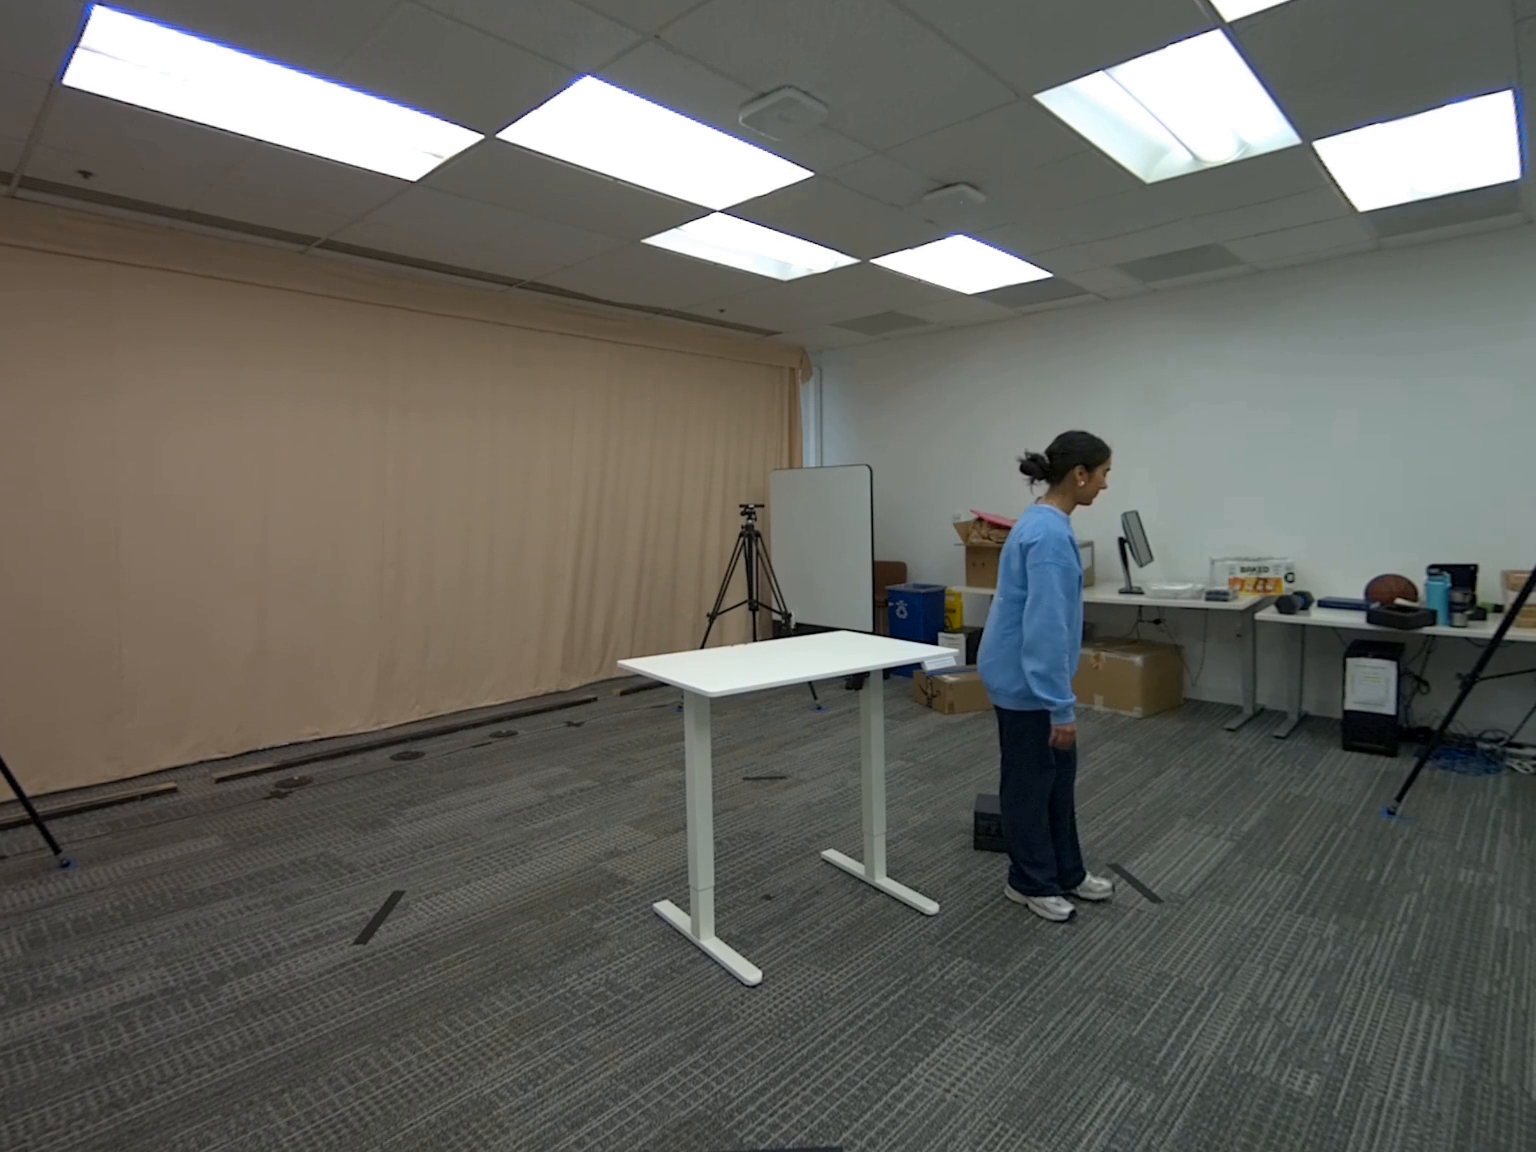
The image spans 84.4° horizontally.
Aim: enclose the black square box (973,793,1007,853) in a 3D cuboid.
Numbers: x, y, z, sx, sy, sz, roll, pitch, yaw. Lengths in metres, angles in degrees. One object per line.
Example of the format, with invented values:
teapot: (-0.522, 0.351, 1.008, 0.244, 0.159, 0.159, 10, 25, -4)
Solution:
black square box: (0.959, 1.003, 3.427, 0.221, 0.155, 0.224, 1, 4, 18)
